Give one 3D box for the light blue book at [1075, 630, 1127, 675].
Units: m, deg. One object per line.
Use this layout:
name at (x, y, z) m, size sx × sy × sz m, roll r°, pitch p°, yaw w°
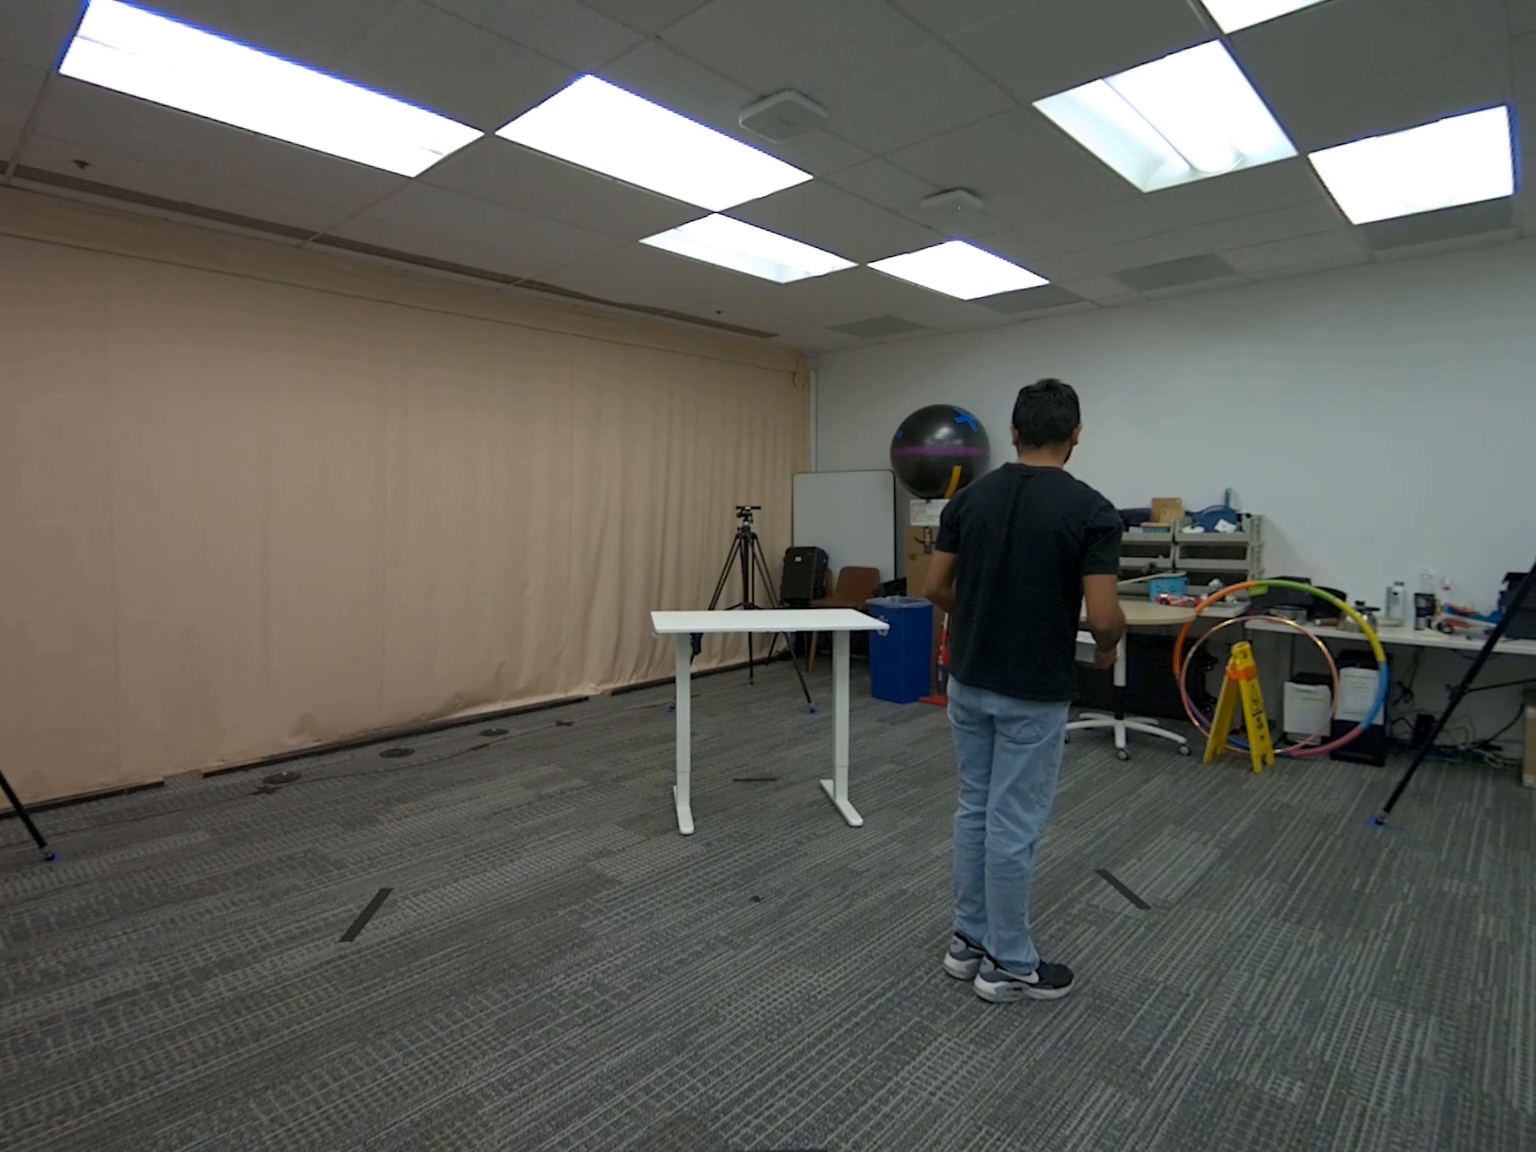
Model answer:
light blue book at (0.929, 0.206, 2.527) m, size 0.270 × 0.059 × 0.185 m, roll 7°, pitch 8°, yaw 44°
